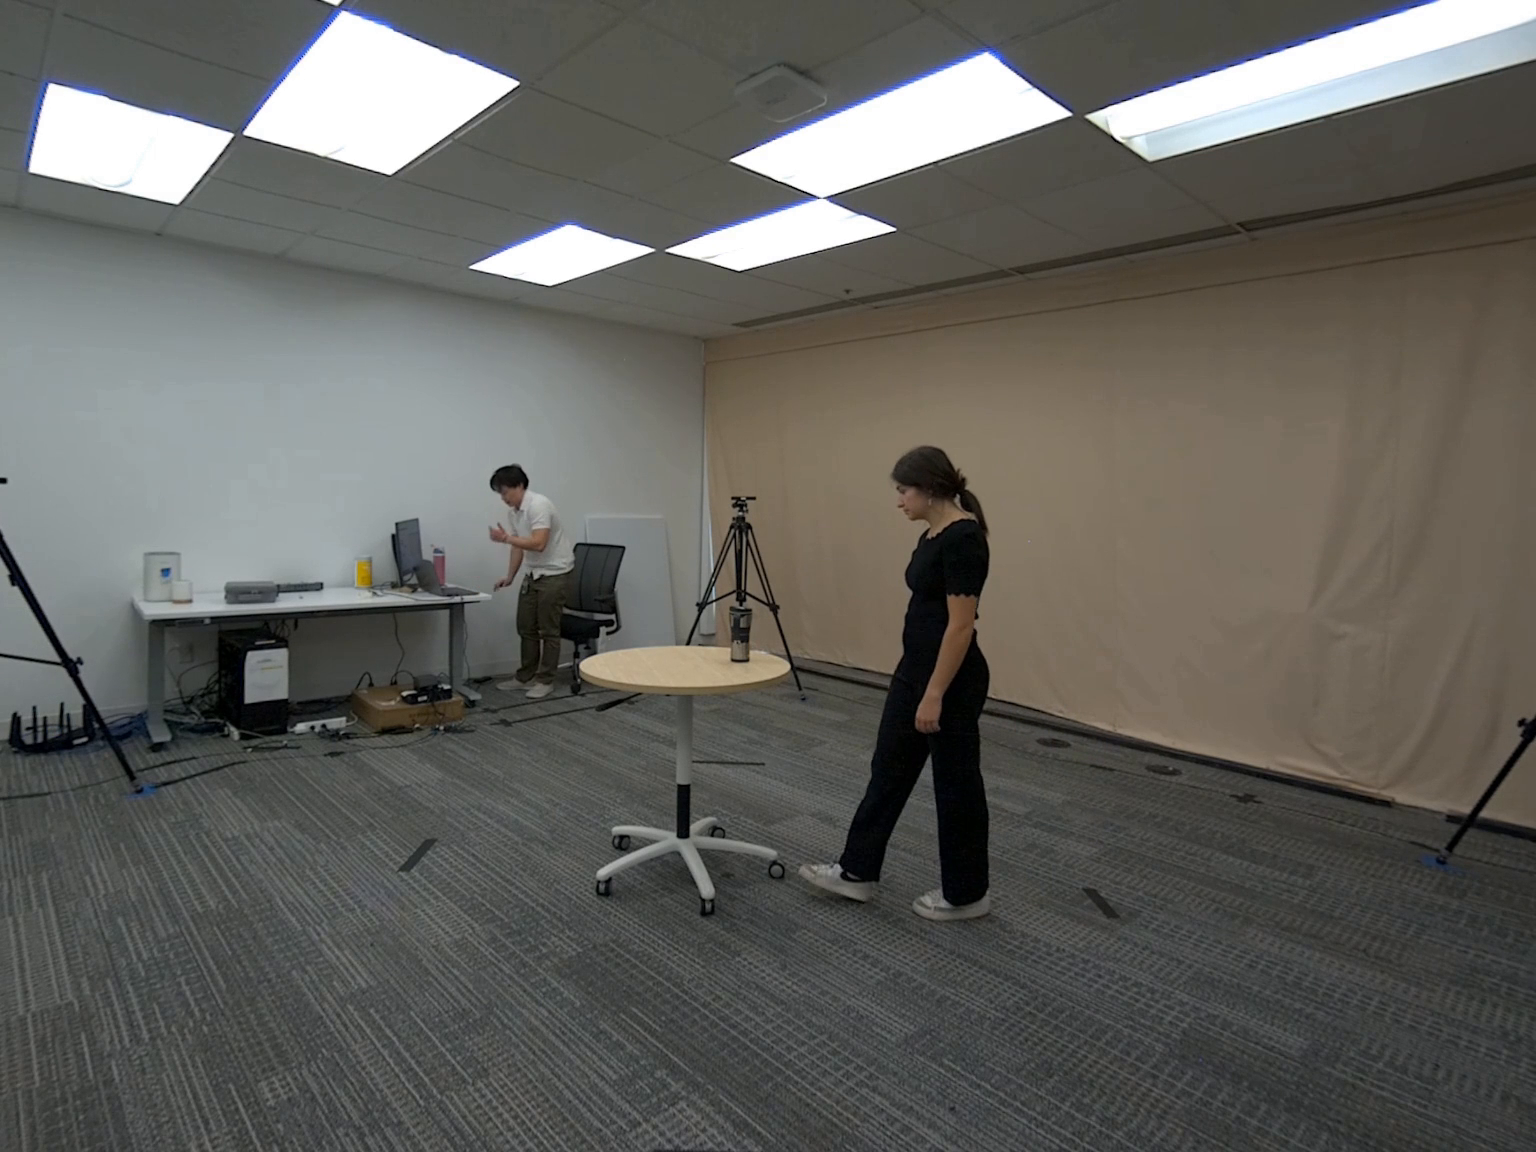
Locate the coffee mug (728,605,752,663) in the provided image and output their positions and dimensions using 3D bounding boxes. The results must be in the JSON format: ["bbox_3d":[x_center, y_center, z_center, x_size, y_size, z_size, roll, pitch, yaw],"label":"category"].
[{"bbox_3d":[-0.119,0.221,3.123,0.119,0.202,0.090,3,5,-44],"label":"coffee mug"}]
